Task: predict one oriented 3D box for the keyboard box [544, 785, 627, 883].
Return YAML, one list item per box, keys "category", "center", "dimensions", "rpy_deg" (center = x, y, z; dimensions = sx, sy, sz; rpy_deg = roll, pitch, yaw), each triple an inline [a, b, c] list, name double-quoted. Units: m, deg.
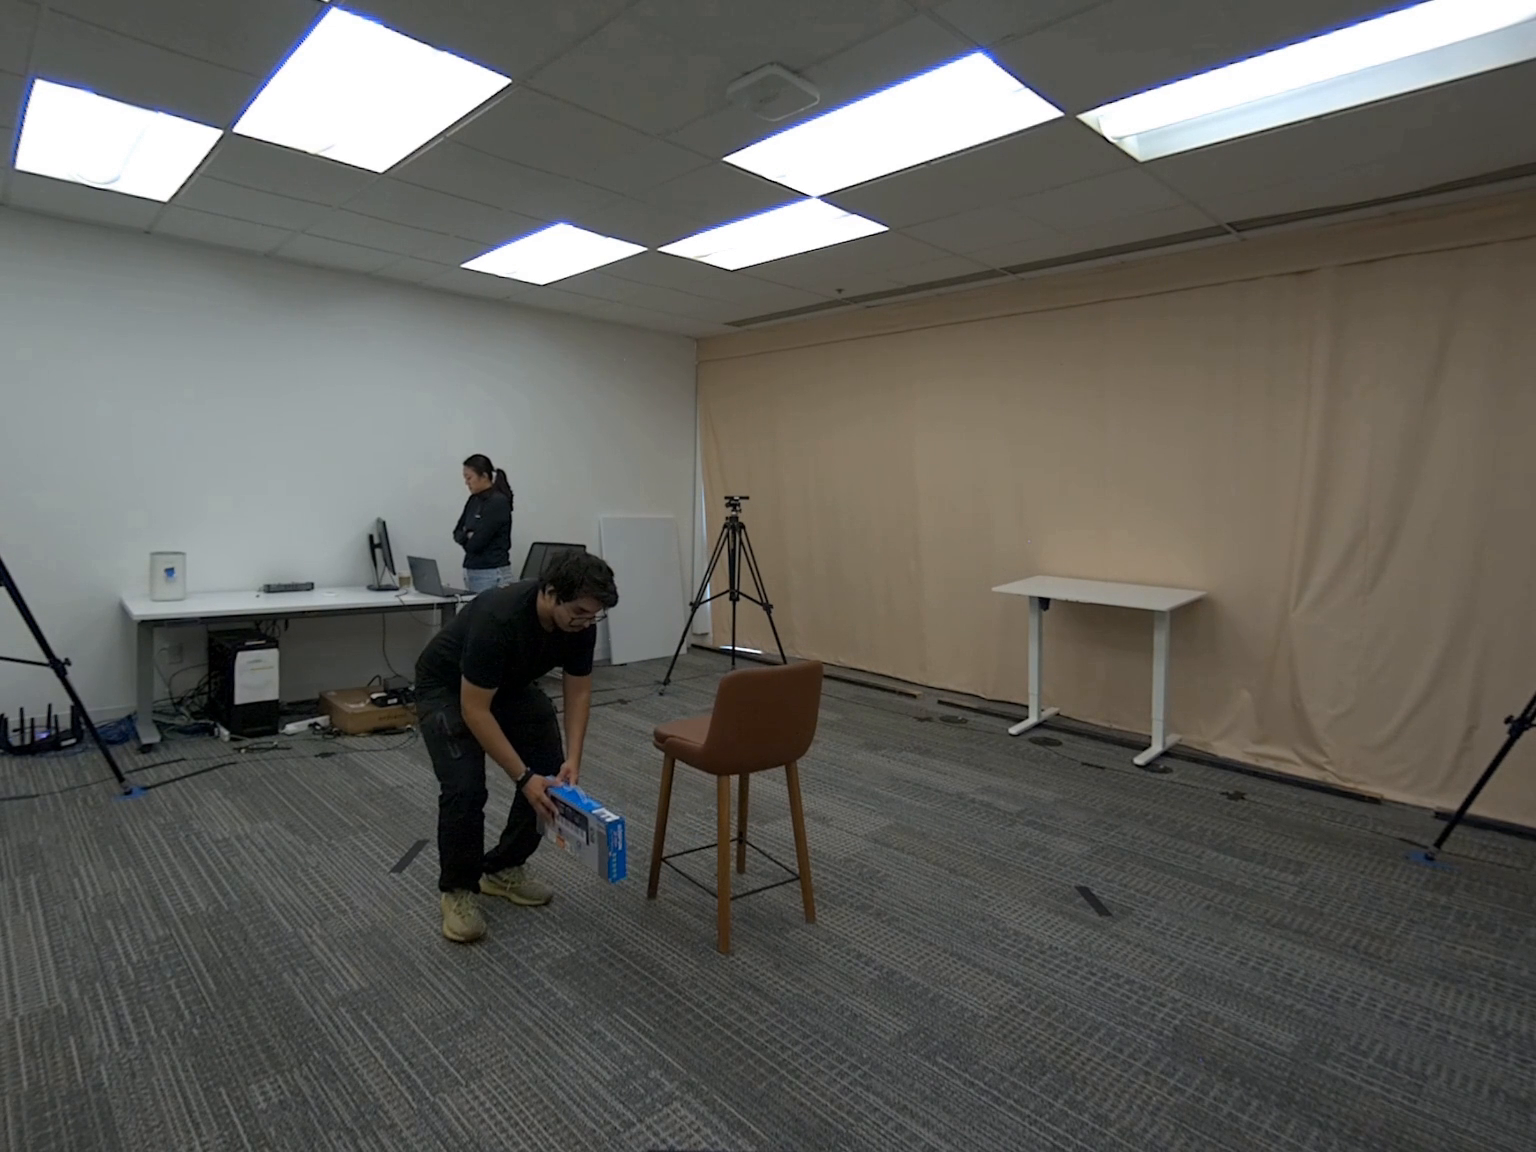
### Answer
- category: "keyboard box"
  center: [-0.575, 0.747, 2.474]
  dimensions: [0.058, 0.175, 0.448]
  rpy_deg: [-5, 8, -40]
